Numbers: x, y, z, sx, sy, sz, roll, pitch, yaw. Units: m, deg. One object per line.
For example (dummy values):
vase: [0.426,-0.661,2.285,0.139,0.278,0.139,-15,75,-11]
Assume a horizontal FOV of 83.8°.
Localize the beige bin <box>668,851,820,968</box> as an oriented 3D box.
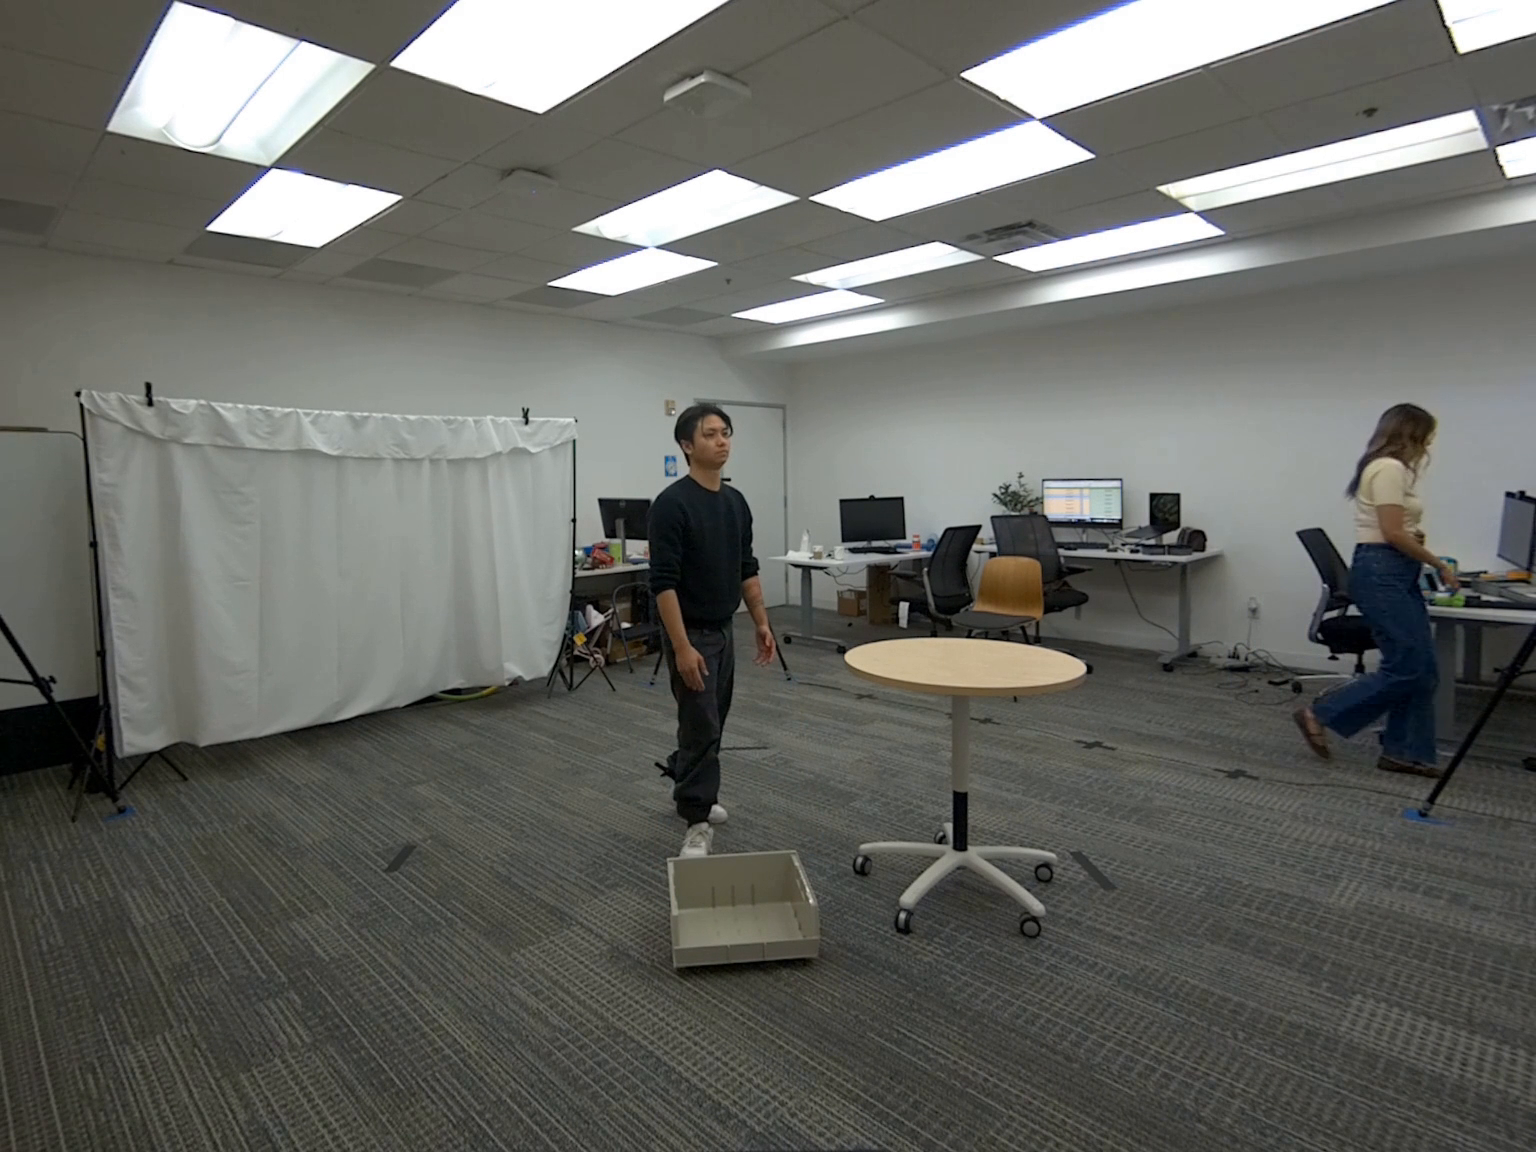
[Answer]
beige bin: [-0.080,1.031,2.577,0.420,0.188,0.381,-3,6,-7]
